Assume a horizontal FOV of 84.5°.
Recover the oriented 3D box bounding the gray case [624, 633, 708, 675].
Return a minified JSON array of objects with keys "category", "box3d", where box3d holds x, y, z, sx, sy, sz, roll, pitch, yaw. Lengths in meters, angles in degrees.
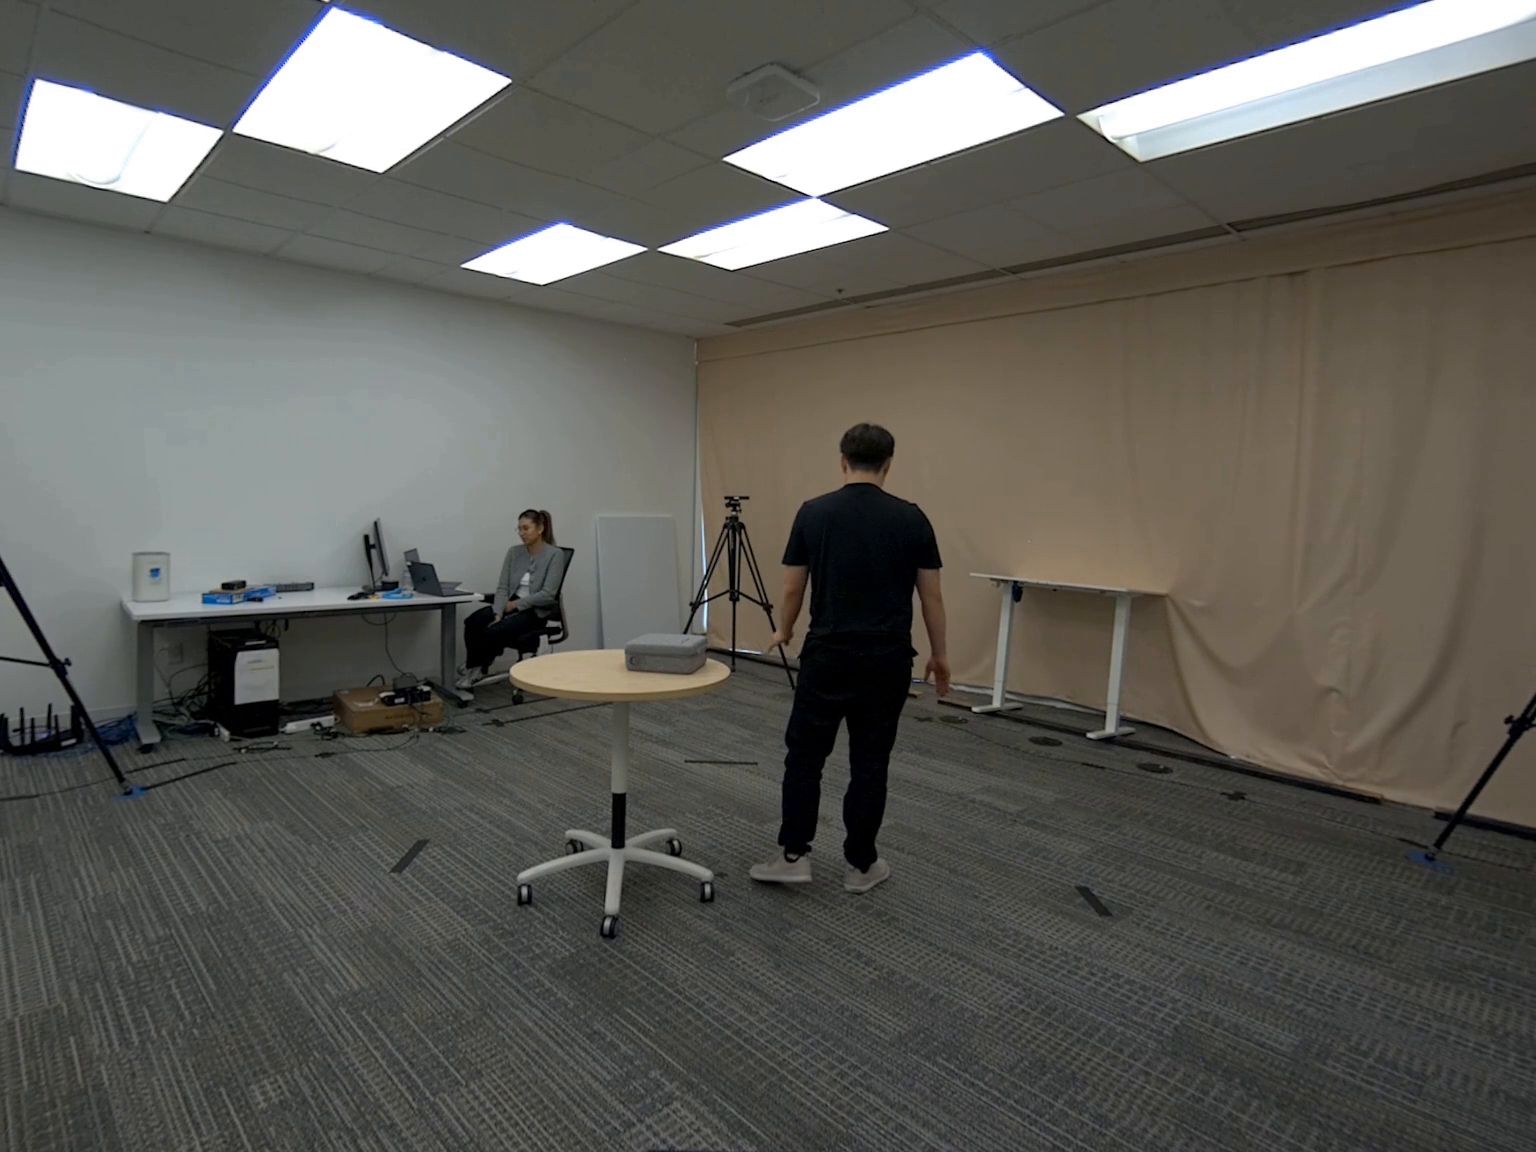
[{"category":"gray case","box3d":[-0.367,0.273,3.019,0.263,0.104,0.255,1,5,12]}]
